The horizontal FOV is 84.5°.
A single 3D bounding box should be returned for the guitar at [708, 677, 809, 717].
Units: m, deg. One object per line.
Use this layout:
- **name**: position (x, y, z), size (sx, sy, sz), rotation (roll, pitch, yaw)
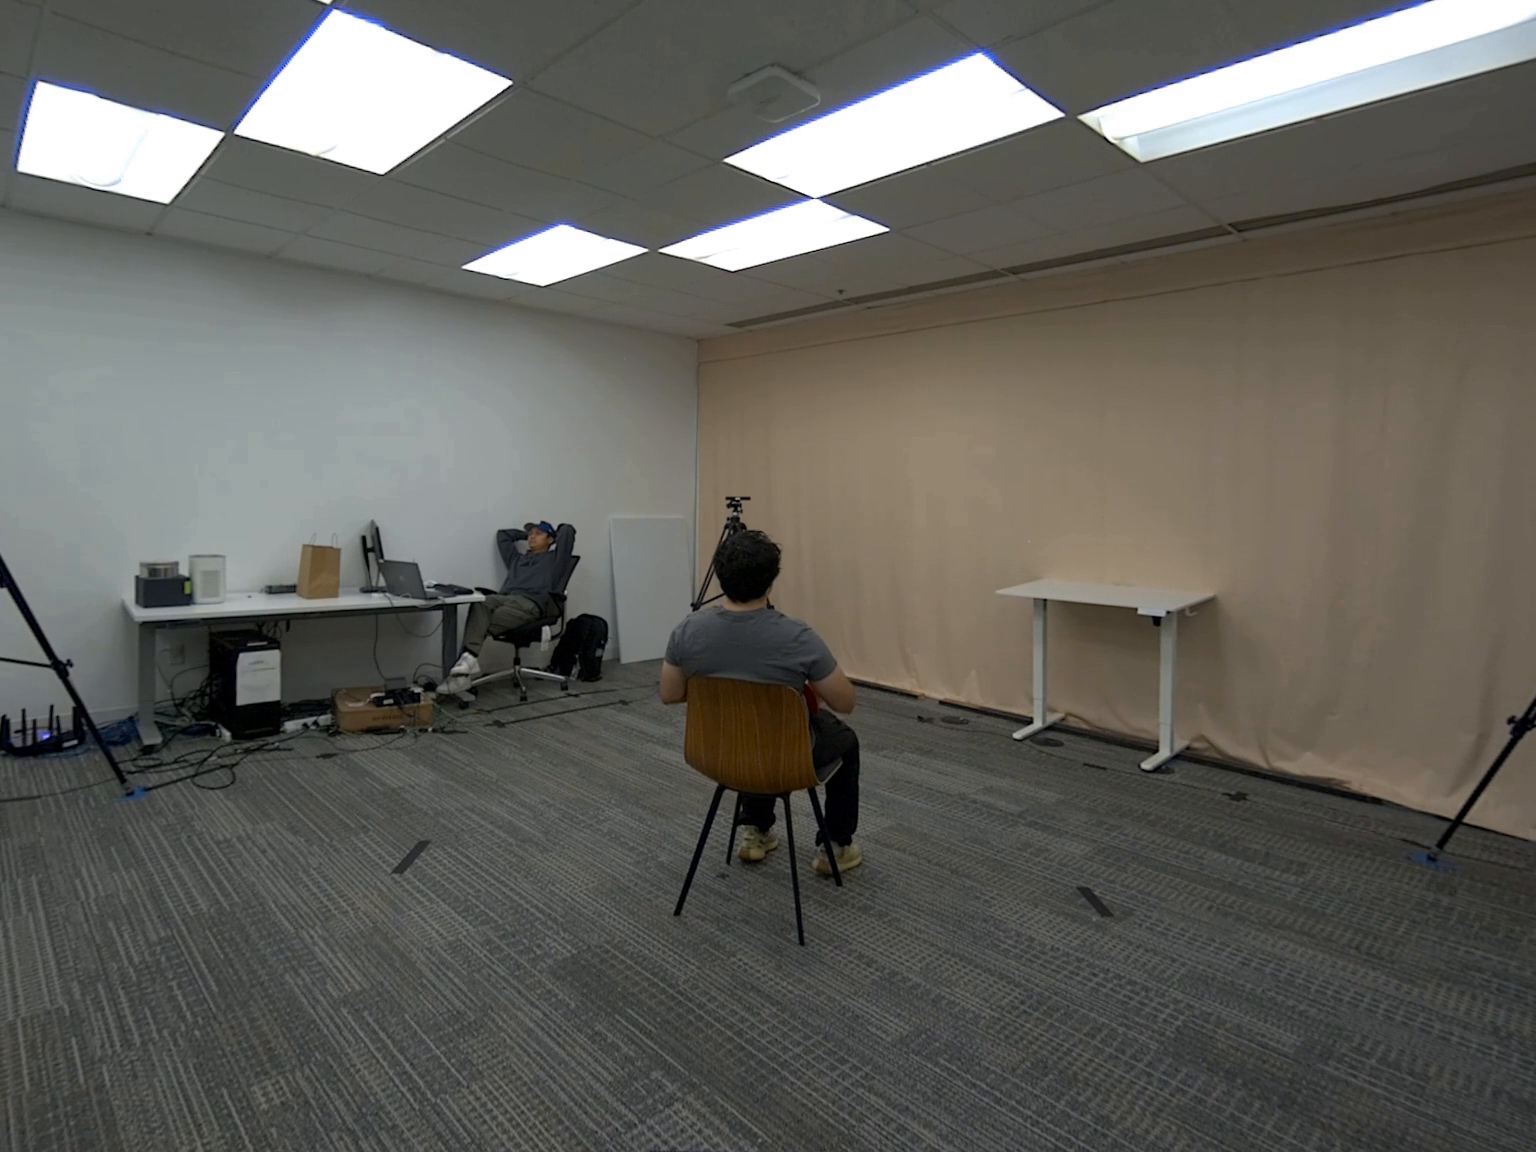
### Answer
- **guitar**: position (-0.016, 0.362, 2.994), size (0.511, 0.187, 0.071), rotation (11, 48, 38)
